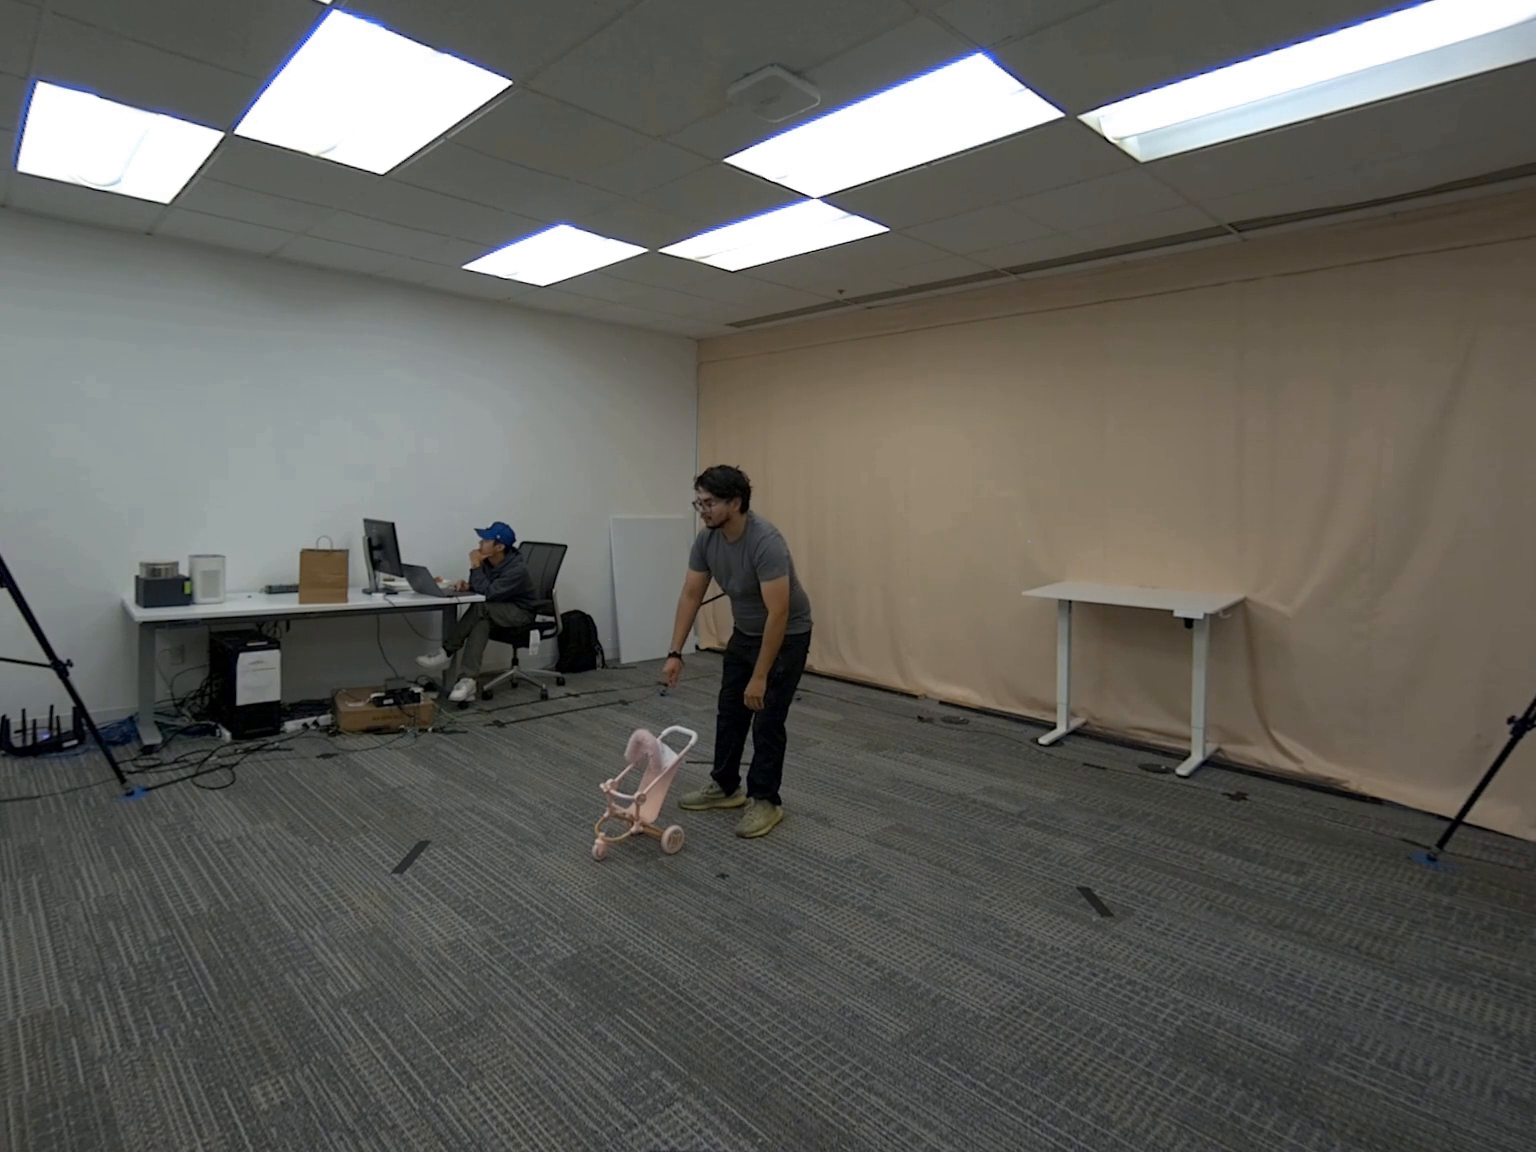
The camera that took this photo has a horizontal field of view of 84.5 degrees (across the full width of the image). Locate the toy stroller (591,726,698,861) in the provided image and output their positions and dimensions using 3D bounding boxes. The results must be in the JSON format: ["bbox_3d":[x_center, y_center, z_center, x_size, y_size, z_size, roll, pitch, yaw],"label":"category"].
[{"bbox_3d":[-0.511,0.850,3.327,0.332,0.537,0.288,17,-8,-38],"label":"toy stroller"}]
